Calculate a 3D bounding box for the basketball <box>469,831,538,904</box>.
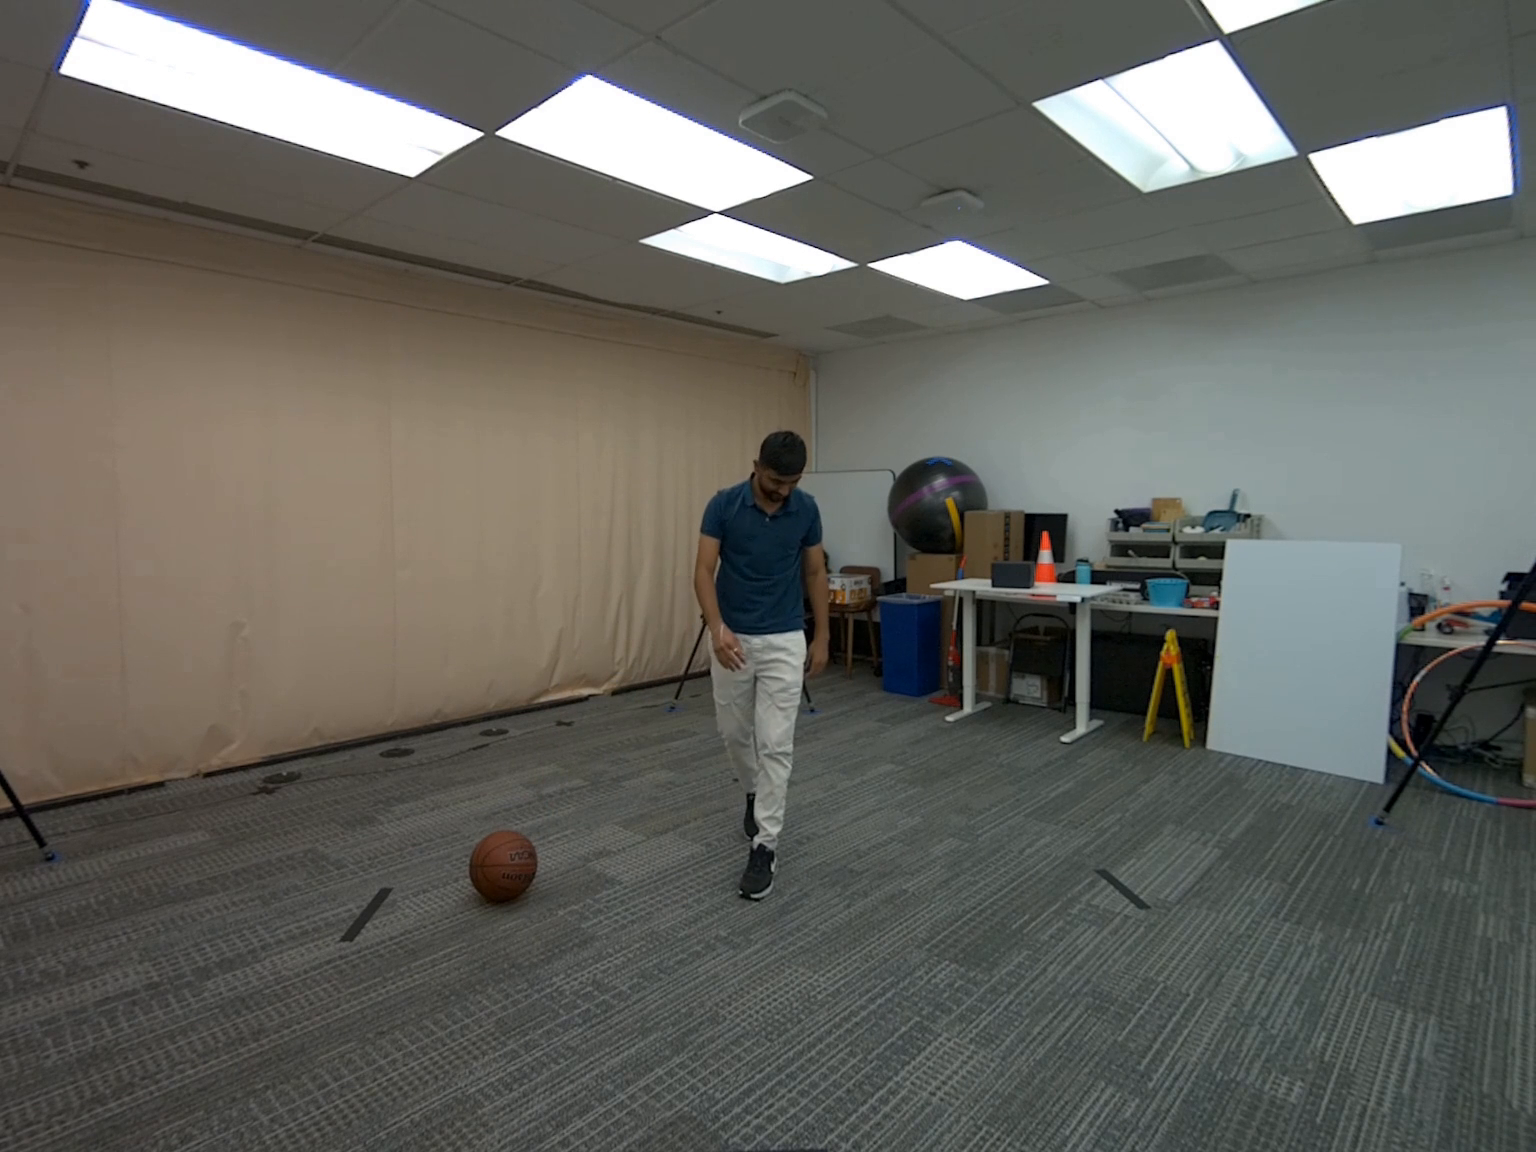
[{"bbox_3d":[-0.942,1.028,2.994,0.236,0.235,0.237,0,4,-2],"label":"basketball"}]
